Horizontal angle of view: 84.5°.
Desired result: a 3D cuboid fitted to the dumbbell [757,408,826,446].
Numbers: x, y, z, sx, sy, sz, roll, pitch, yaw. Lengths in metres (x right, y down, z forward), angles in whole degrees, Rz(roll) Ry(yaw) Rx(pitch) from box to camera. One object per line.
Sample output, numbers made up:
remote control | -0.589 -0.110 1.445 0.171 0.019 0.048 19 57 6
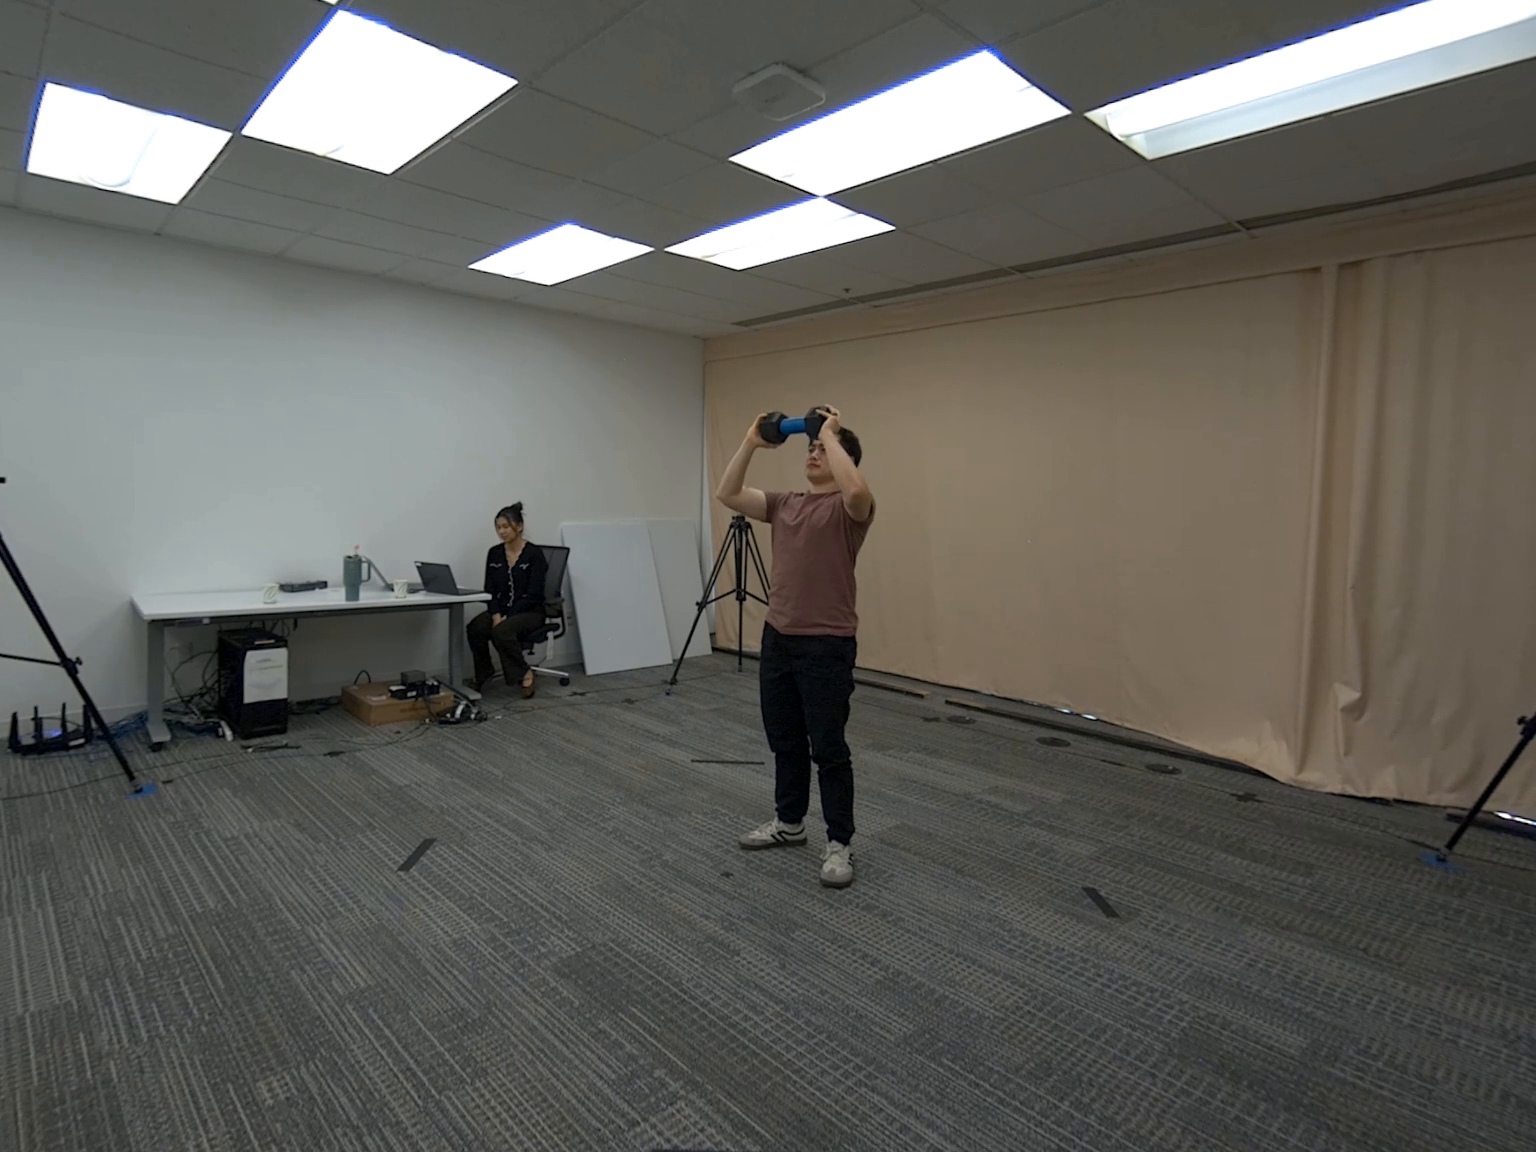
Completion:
dumbbell | 0.104 -0.559 3.123 0.301 0.106 0.123 3 46 41
